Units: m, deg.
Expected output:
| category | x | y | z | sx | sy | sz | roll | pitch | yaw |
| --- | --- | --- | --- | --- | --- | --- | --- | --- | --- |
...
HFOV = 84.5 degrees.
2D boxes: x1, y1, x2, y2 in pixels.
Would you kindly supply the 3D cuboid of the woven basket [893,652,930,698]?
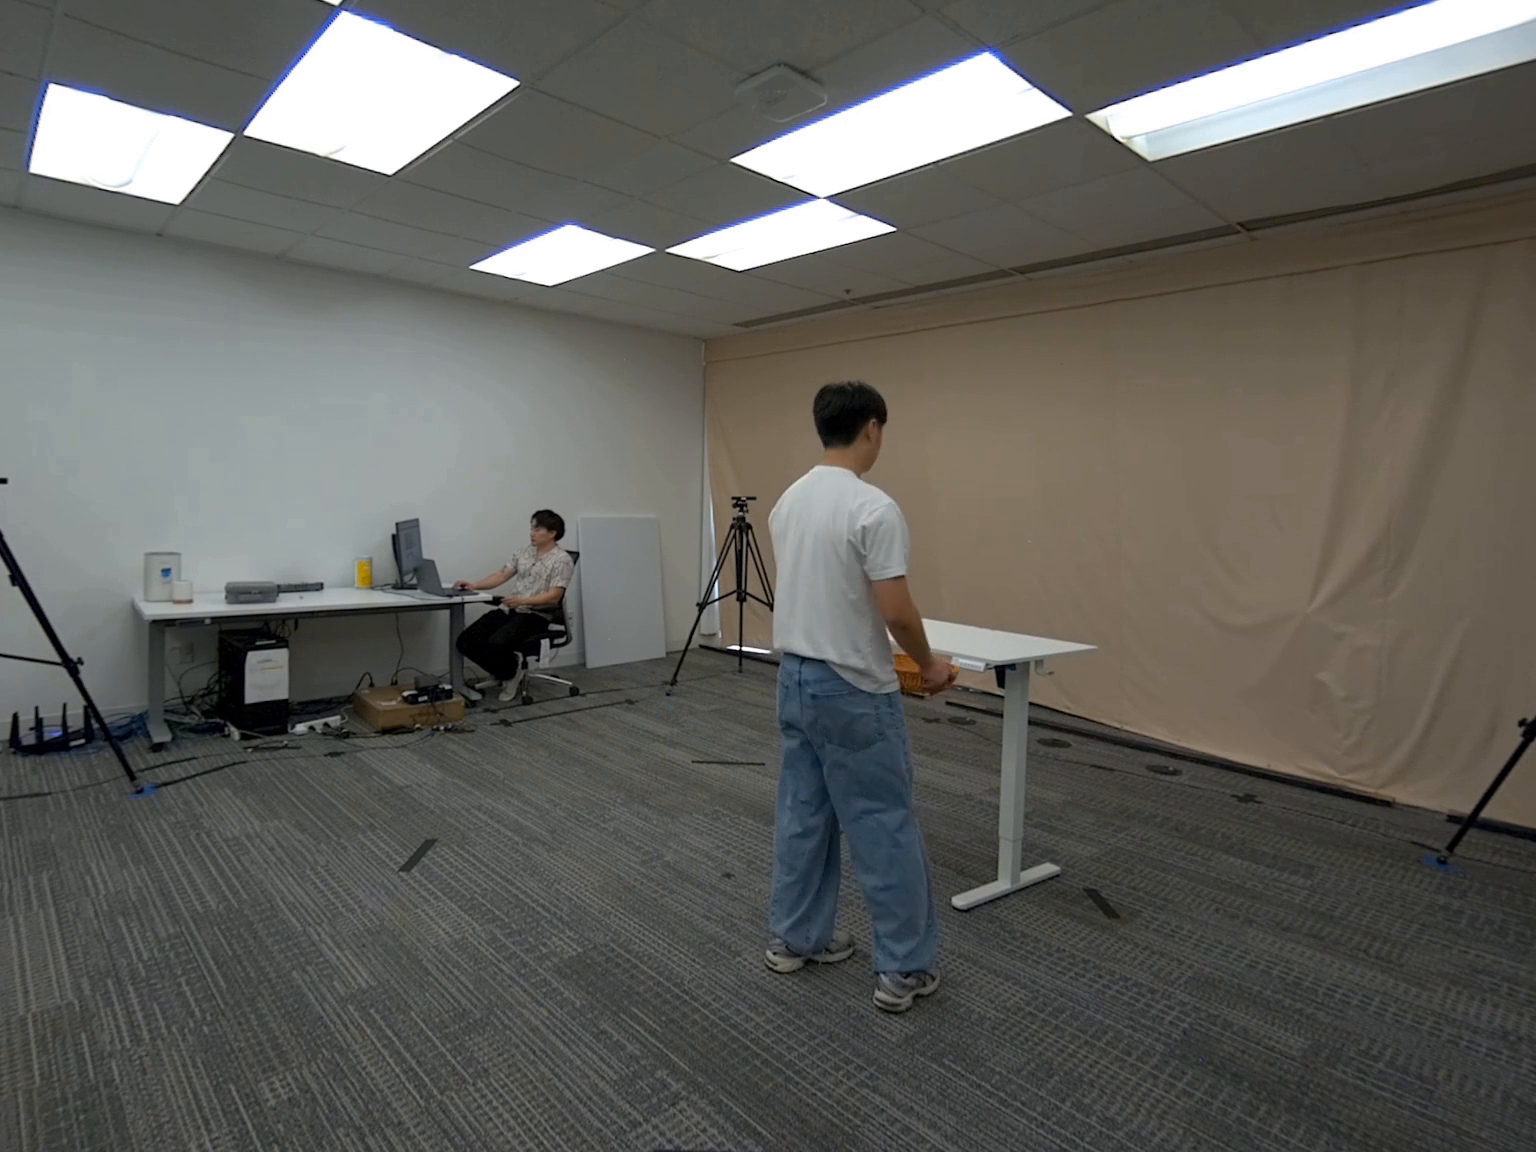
| category | x | y | z | sx | sy | sz | roll | pitch | yaw |
| --- | --- | --- | --- | --- | --- | --- | --- | --- | --- |
| woven basket | 0.430 | 0.308 | 2.596 | 0.249 | 0.073 | 0.355 | 0 | 4 | -17 |
